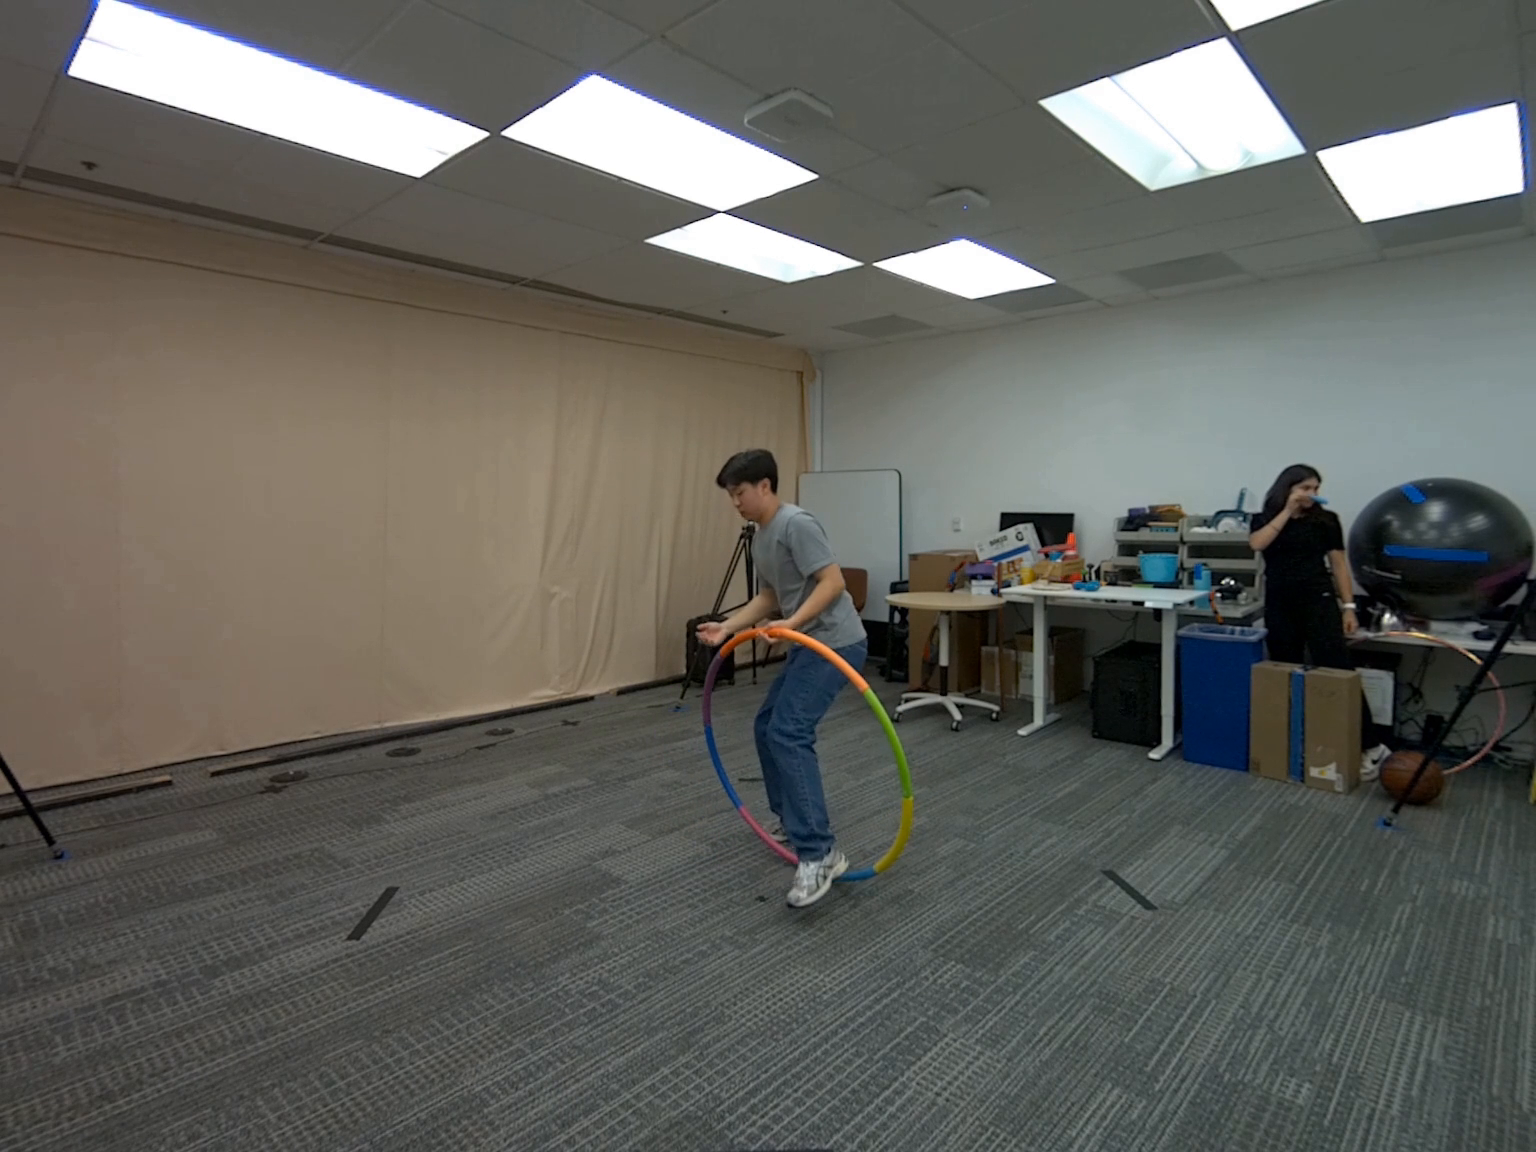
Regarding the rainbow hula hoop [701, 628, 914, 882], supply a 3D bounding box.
[{"bbox_3d":[0.107,0.657,3.100,0.035,0.970,1.011,-19,16,-42],"label":"rainbow hula hoop"}]
